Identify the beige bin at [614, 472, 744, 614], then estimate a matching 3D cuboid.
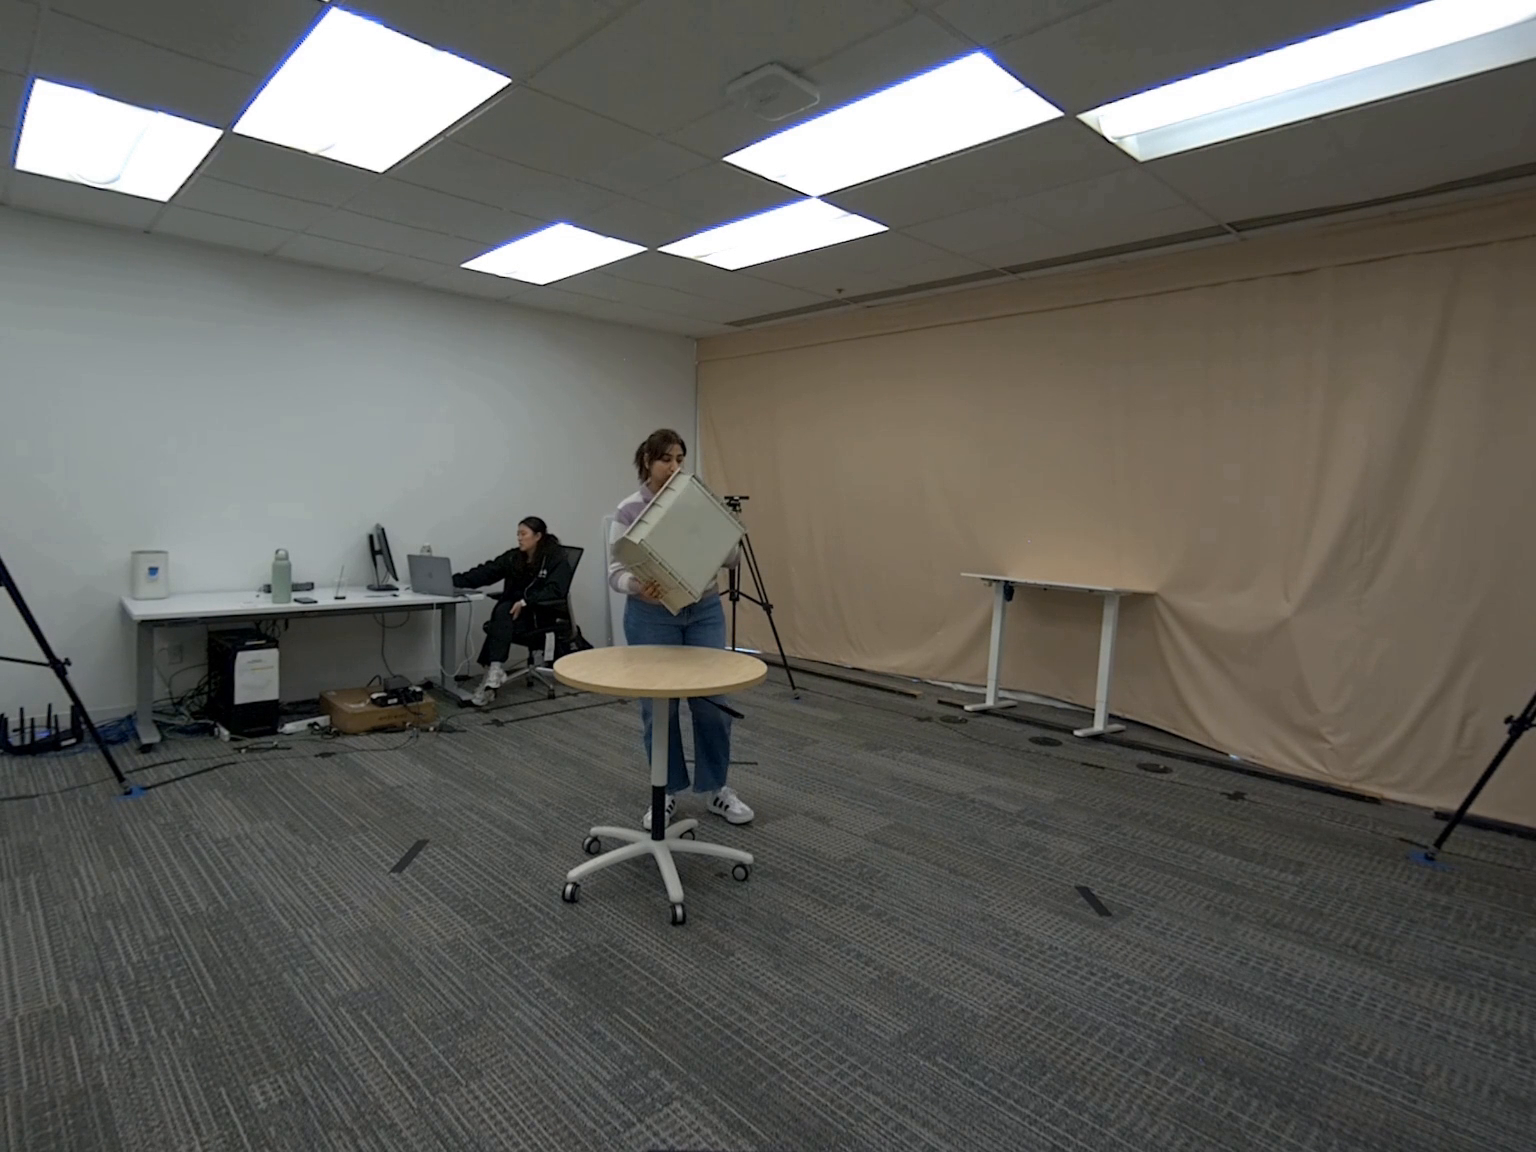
[{"bbox_3d":[-0.342,-0.147,3.240,0.191,0.371,0.424,-27,24,50],"label":"beige bin"}]
